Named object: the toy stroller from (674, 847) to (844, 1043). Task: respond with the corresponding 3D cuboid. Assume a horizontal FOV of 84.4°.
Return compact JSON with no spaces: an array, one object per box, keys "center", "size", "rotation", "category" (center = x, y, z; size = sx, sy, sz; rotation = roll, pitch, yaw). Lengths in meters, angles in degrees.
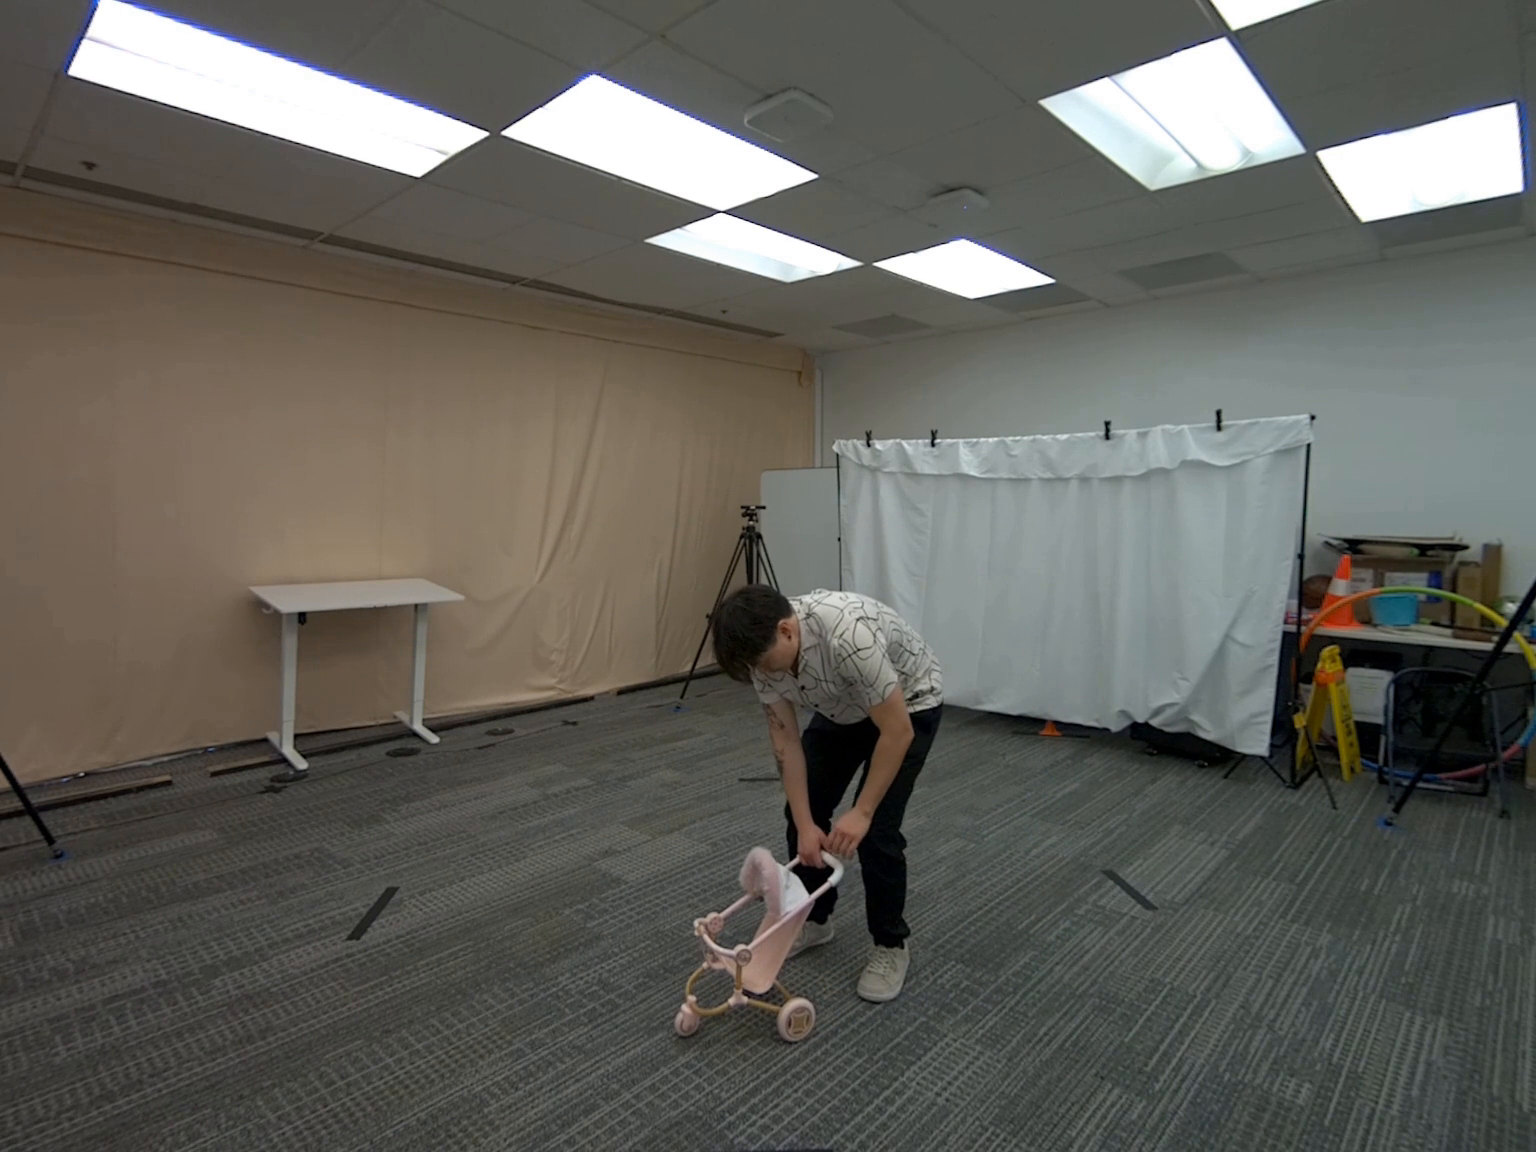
[{"center":[-0.033,0.984,2.276],"size":[0.334,0.535,0.287],"rotation":[17,-3,-19],"category":"toy stroller"}]
